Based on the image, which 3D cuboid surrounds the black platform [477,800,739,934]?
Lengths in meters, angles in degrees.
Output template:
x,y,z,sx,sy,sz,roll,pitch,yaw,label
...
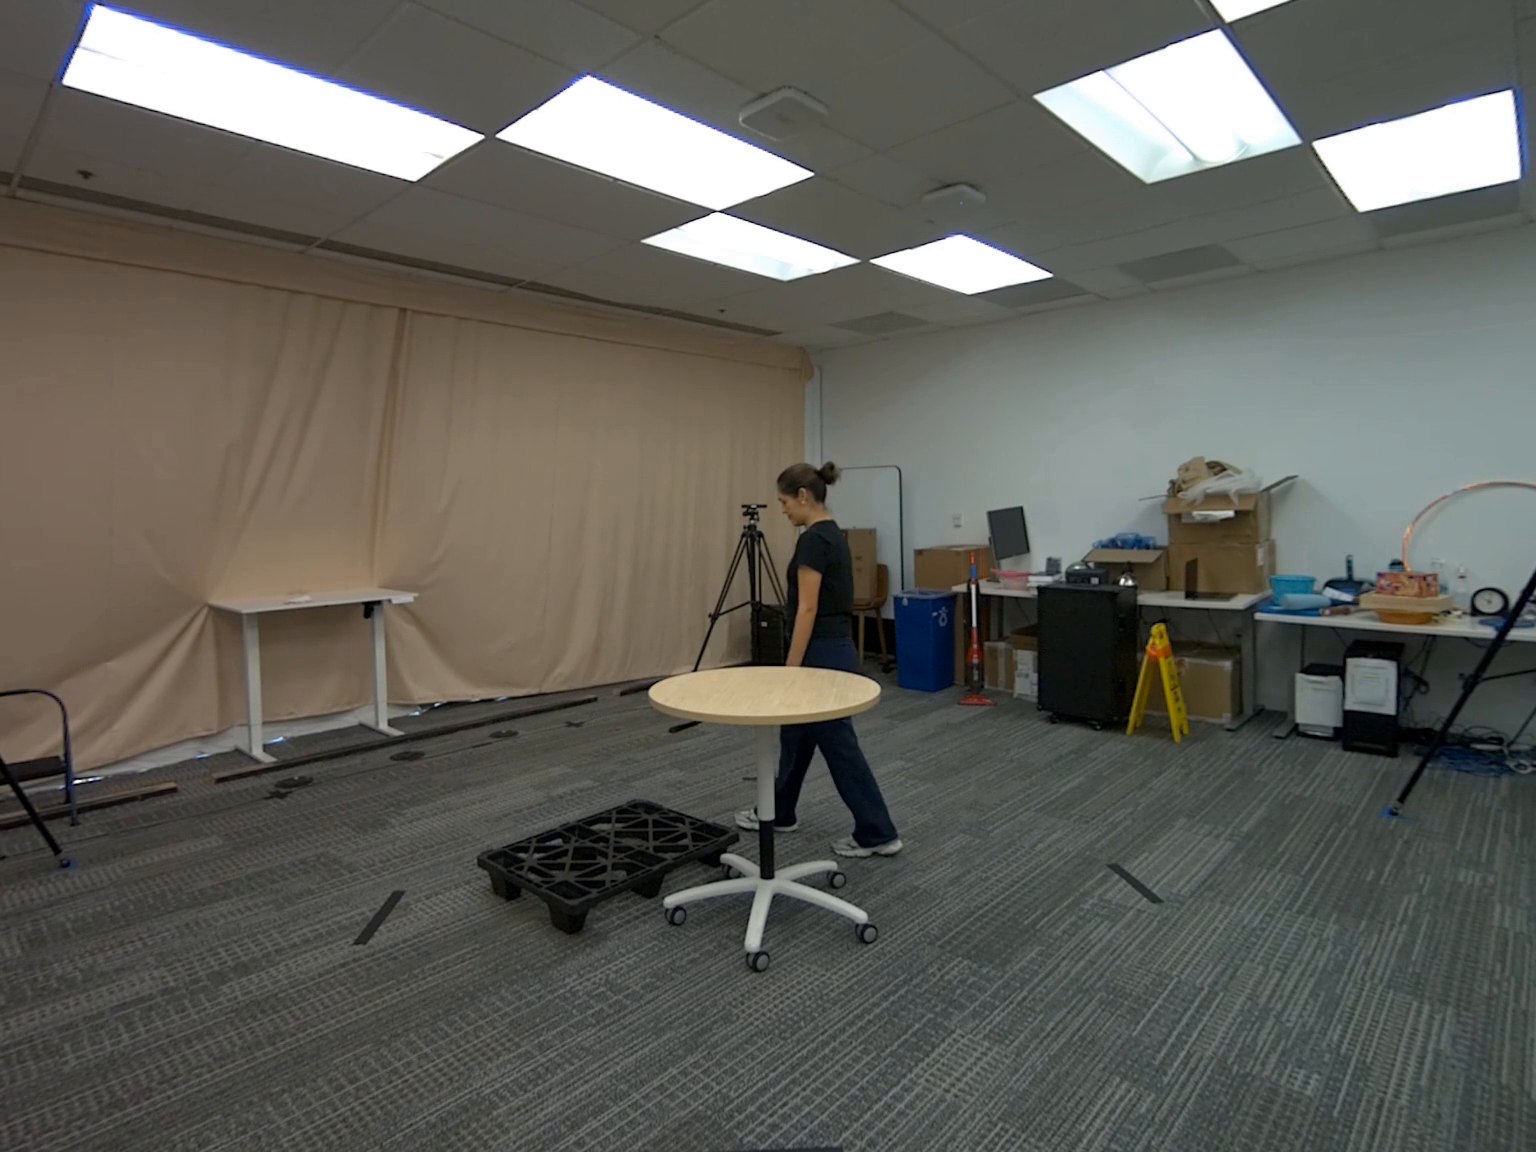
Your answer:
x,y,z,sx,sy,sz,roll,pitch,yaw,label
-0.570,1.072,3.164,0.625,0.143,0.781,3,7,42,black platform
